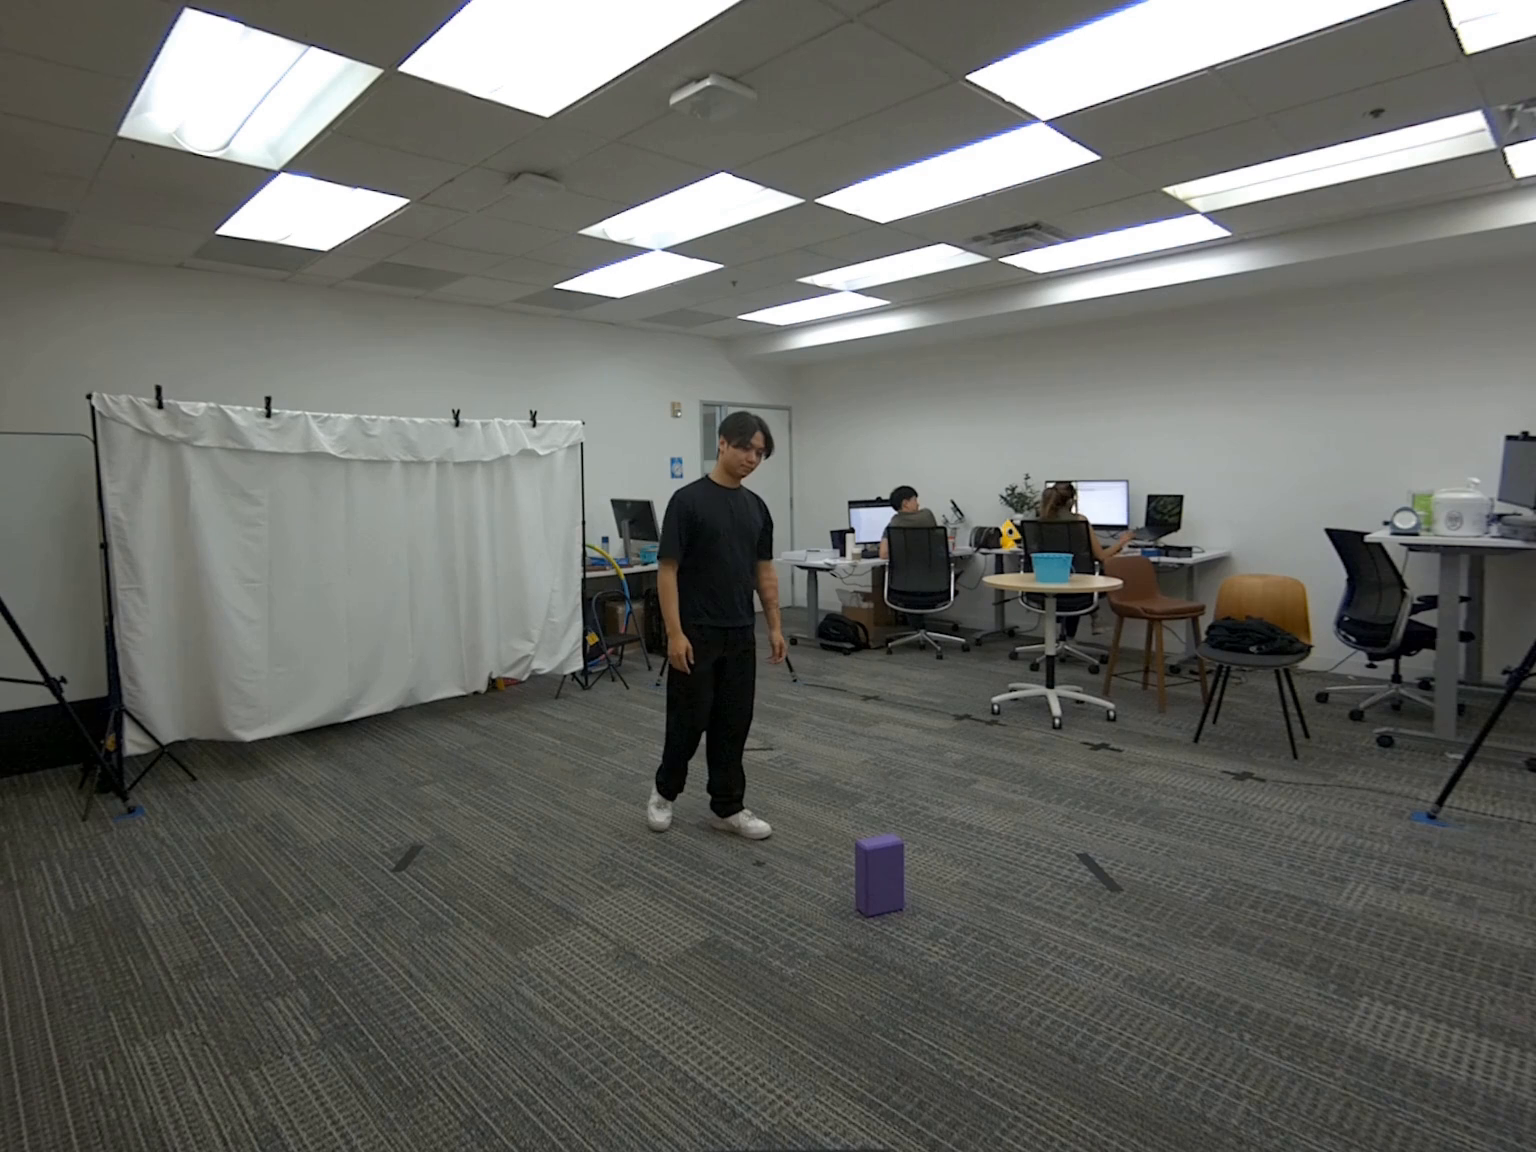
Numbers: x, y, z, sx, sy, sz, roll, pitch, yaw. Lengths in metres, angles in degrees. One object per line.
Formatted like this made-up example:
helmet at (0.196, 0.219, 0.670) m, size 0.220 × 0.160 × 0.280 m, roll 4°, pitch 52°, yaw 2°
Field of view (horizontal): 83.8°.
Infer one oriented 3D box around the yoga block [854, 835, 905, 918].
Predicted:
yoga block at (0.366, 0.964, 2.756) m, size 0.146 × 0.229 × 0.078 m, roll -2°, pitch 4°, yaw -22°
